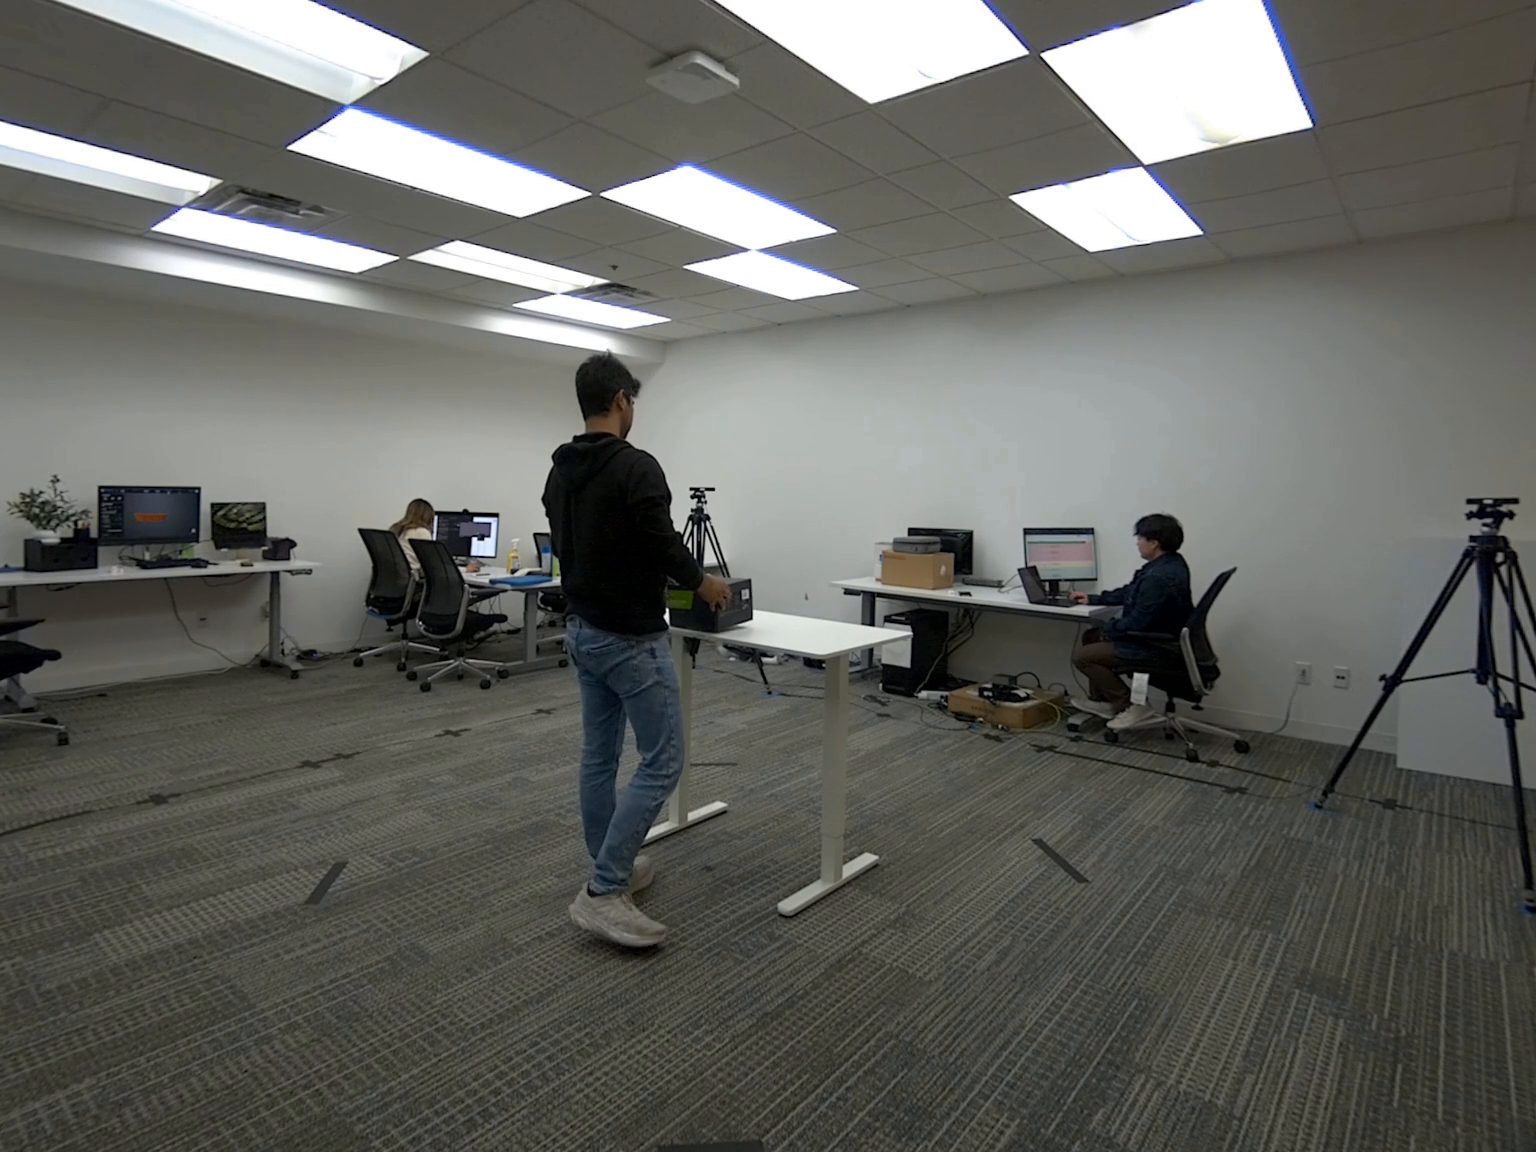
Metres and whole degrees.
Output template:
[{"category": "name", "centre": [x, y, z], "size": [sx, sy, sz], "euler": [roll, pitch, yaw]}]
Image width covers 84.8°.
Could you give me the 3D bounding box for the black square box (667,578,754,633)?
[{"category": "black square box", "centre": [-0.219, 0.092, 3.100], "size": [0.235, 0.155, 0.211], "euler": [2, 8, 37]}]
